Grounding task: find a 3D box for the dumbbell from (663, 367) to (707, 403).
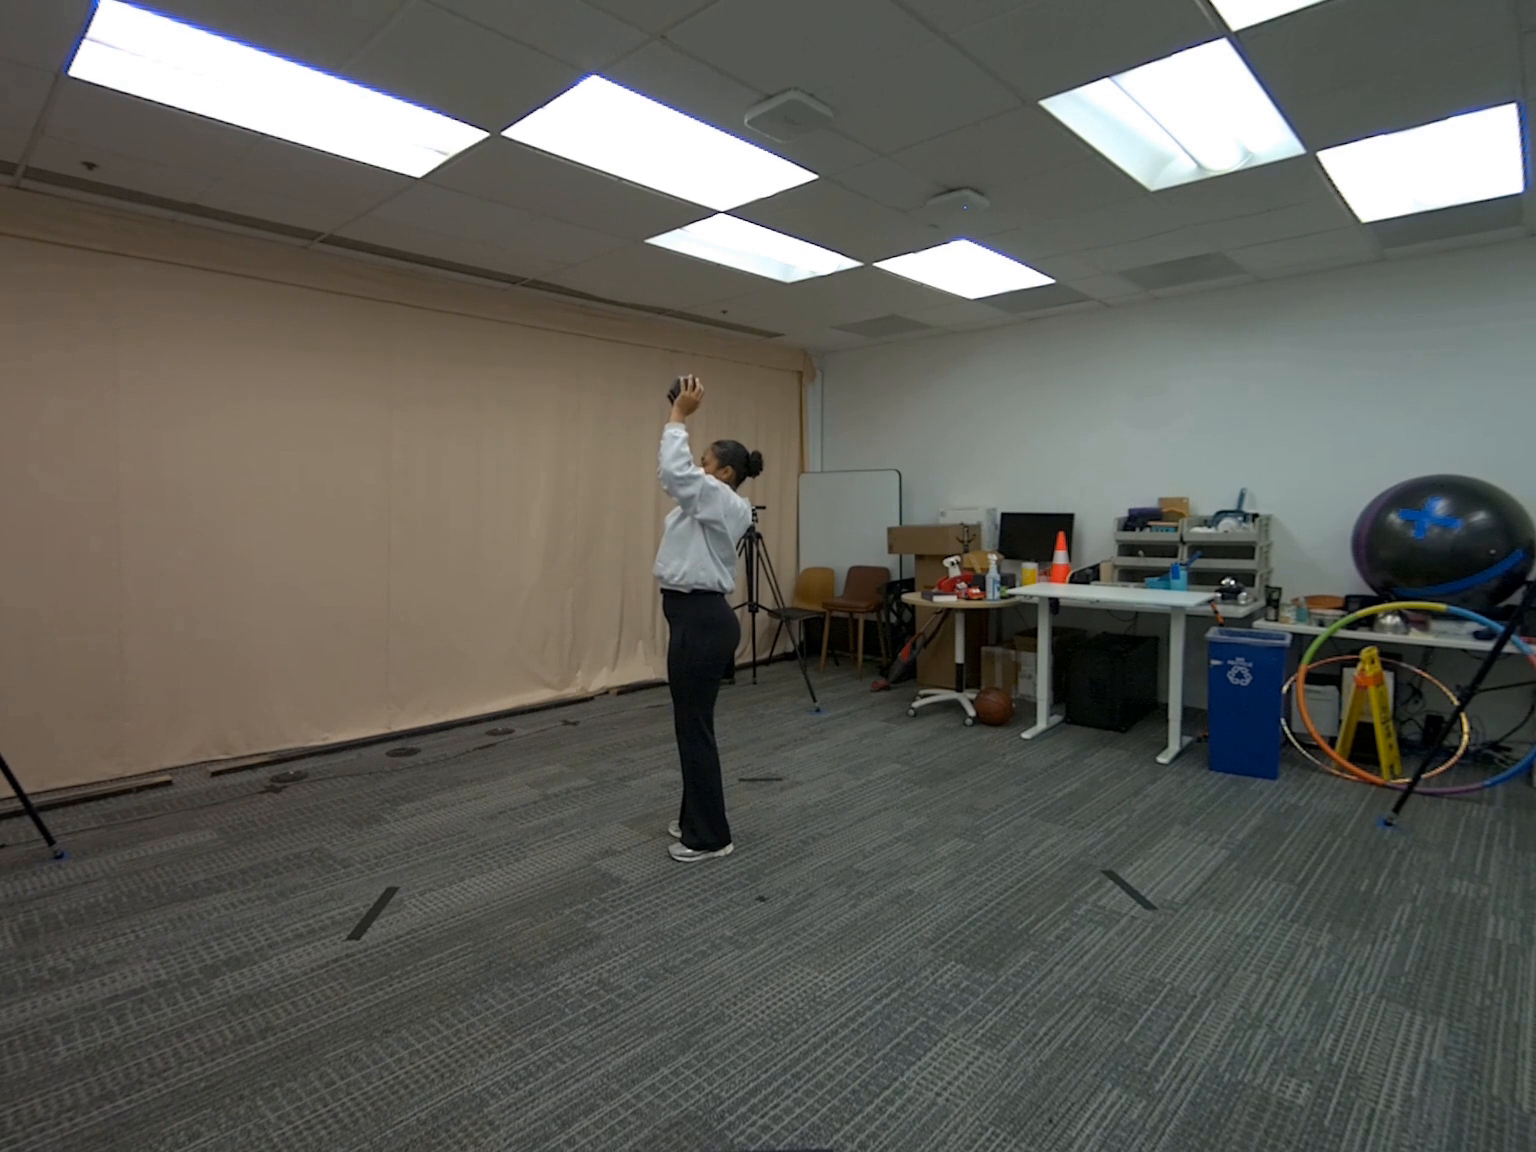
[{"bbox_3d":[-0.334,-0.730,3.373,0.108,0.122,0.296,-34,9,-3],"label":"dumbbell"}]
